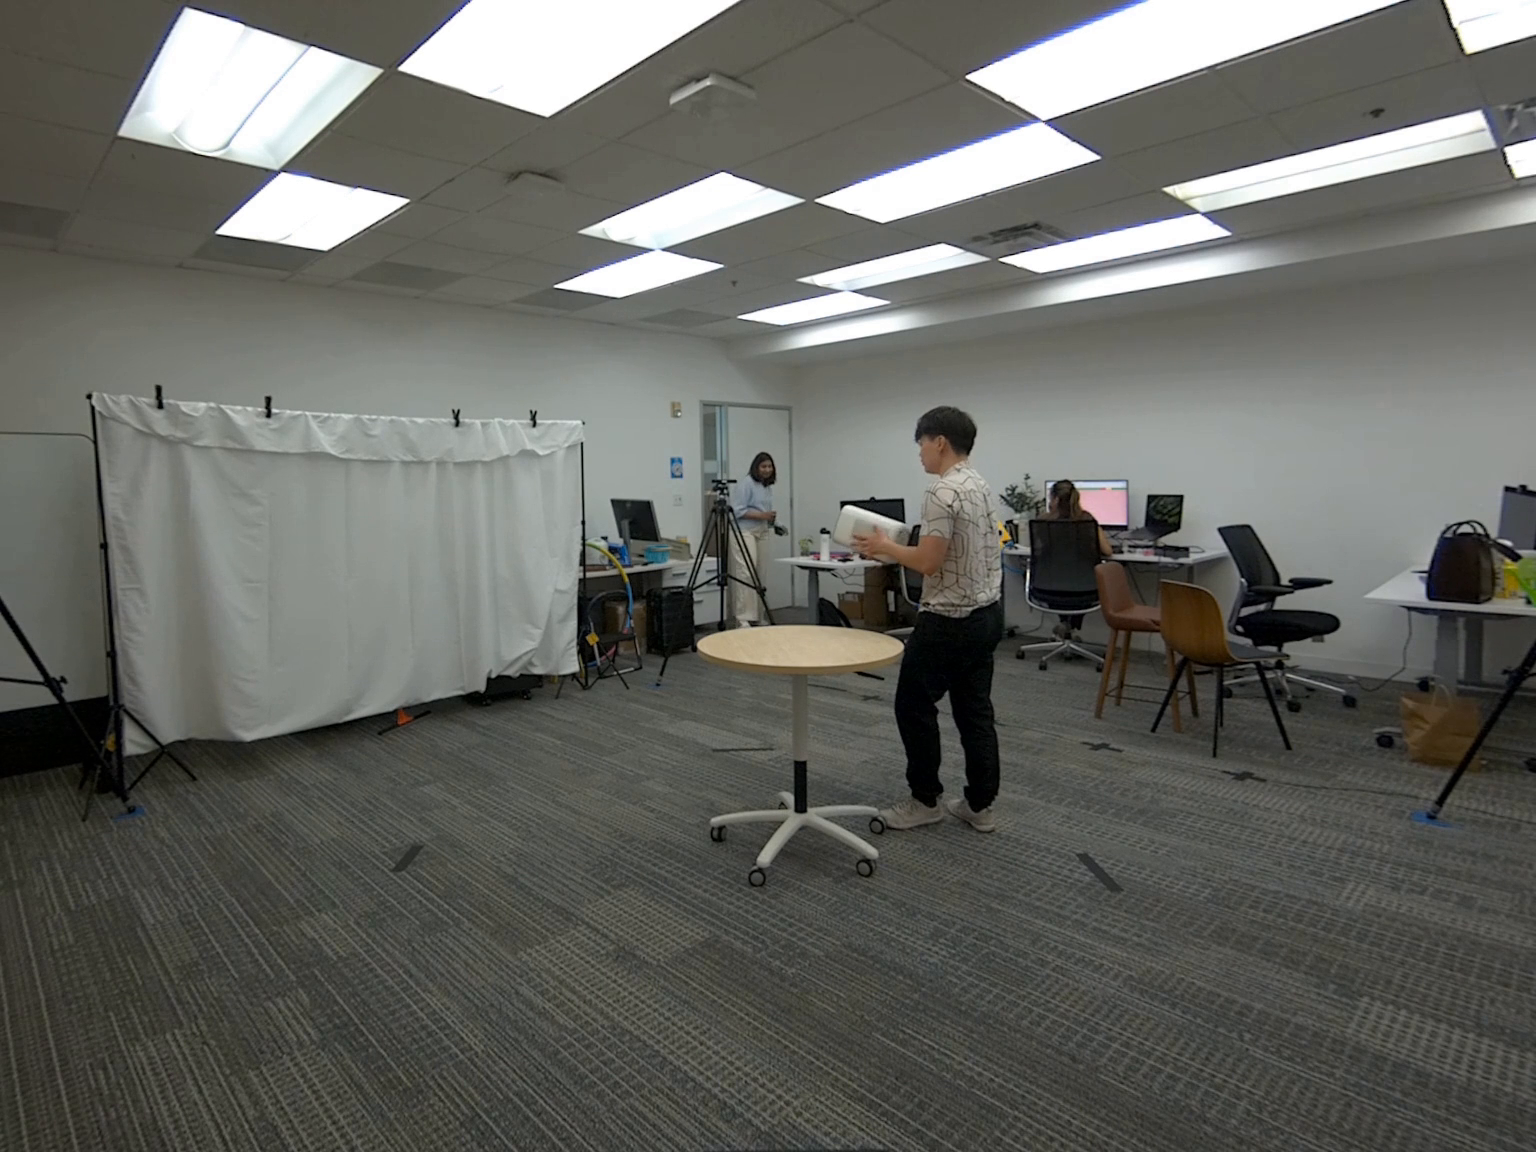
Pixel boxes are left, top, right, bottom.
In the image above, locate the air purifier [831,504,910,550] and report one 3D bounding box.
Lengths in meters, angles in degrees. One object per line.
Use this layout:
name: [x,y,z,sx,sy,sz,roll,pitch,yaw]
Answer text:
air purifier: [0.439,-0.178,3.549,0.273,0.170,0.167,21,10,25]
